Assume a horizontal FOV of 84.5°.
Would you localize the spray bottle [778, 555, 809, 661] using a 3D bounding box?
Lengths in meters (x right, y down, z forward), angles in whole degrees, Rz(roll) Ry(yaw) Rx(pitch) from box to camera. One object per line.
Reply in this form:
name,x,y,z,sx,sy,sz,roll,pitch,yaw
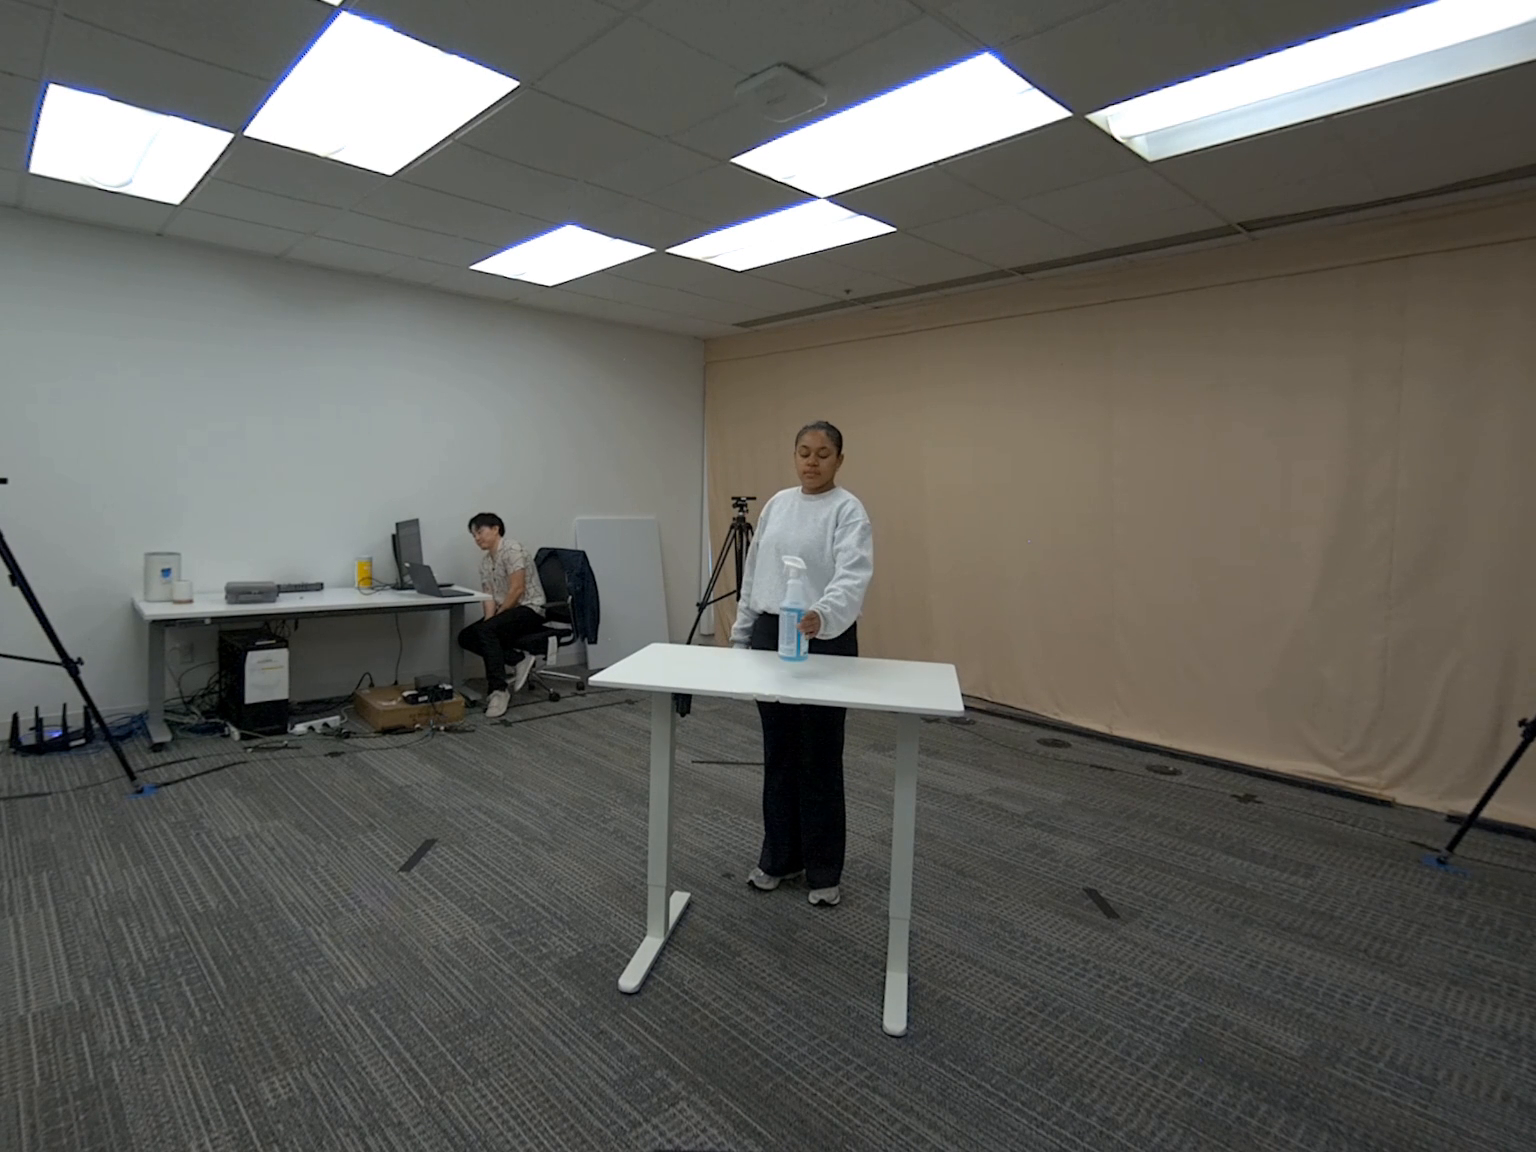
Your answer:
spray bottle,0.070,0.091,2.420,0.086,0.296,0.091,-1,5,-17
